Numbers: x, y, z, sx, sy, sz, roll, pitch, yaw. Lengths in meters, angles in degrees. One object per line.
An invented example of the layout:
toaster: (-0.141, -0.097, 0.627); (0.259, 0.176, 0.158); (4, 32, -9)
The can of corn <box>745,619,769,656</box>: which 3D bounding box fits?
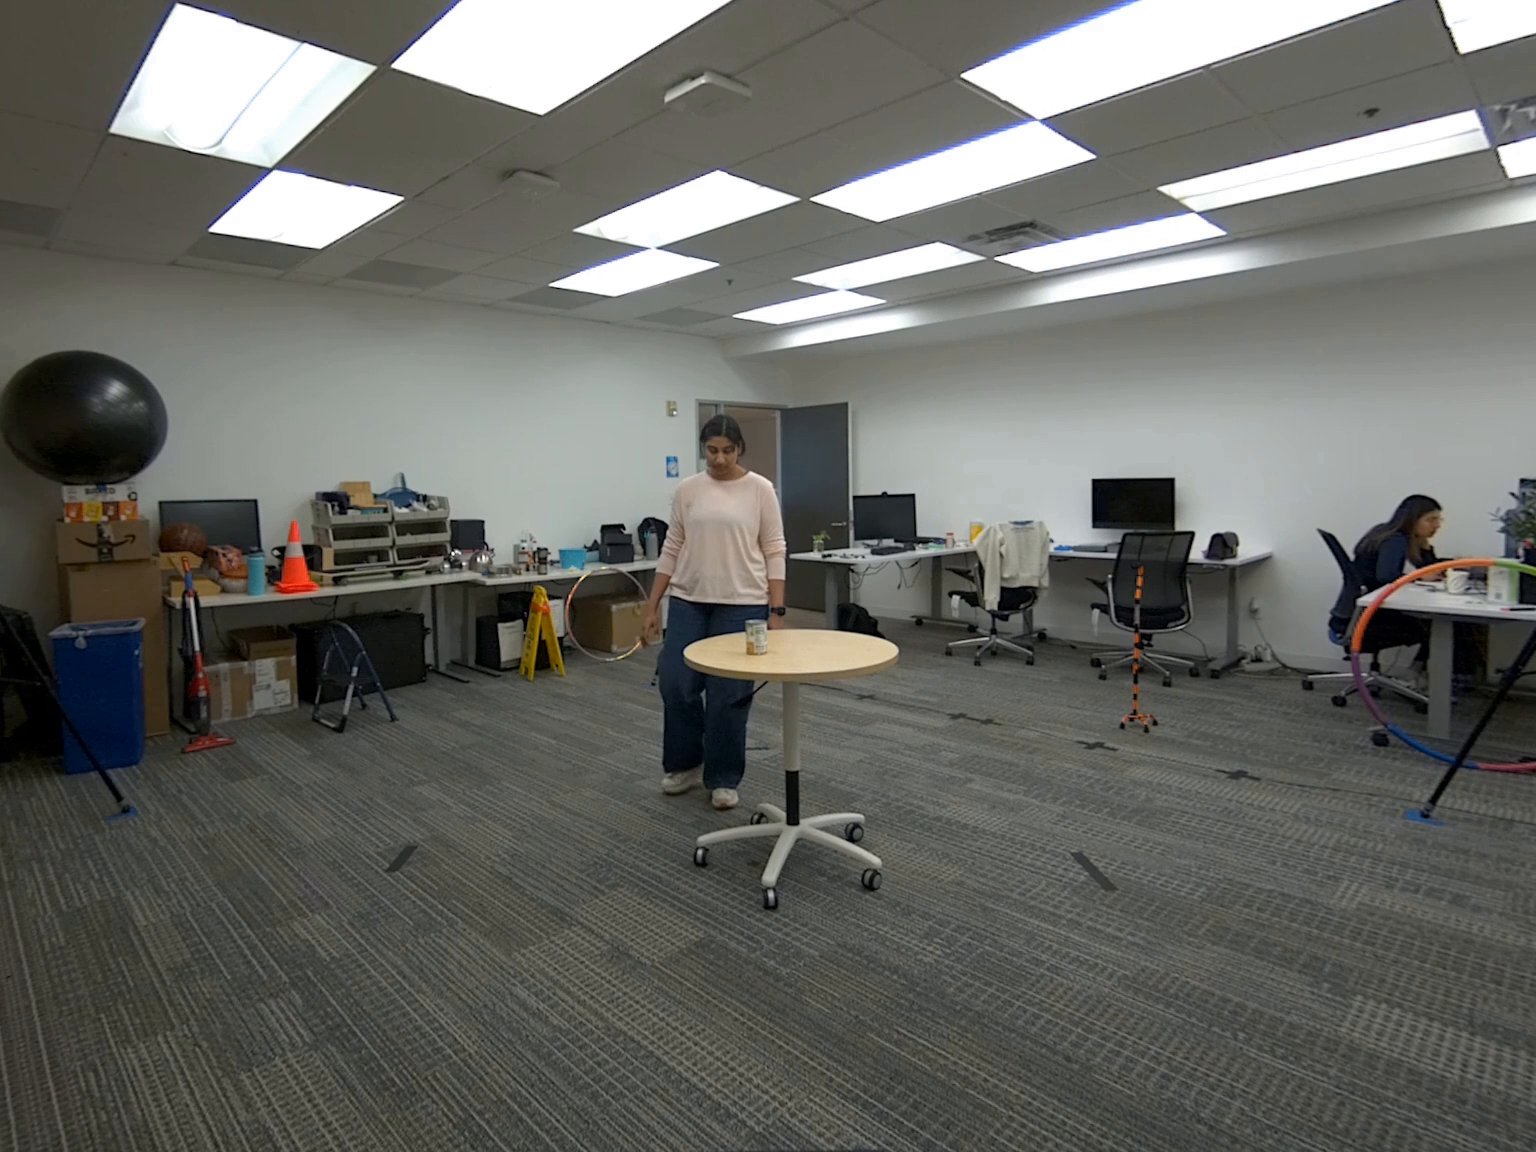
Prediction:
can of corn: (-0.045, 0.219, 3.007); (0.074, 0.110, 0.074); (1, 5, -2)
